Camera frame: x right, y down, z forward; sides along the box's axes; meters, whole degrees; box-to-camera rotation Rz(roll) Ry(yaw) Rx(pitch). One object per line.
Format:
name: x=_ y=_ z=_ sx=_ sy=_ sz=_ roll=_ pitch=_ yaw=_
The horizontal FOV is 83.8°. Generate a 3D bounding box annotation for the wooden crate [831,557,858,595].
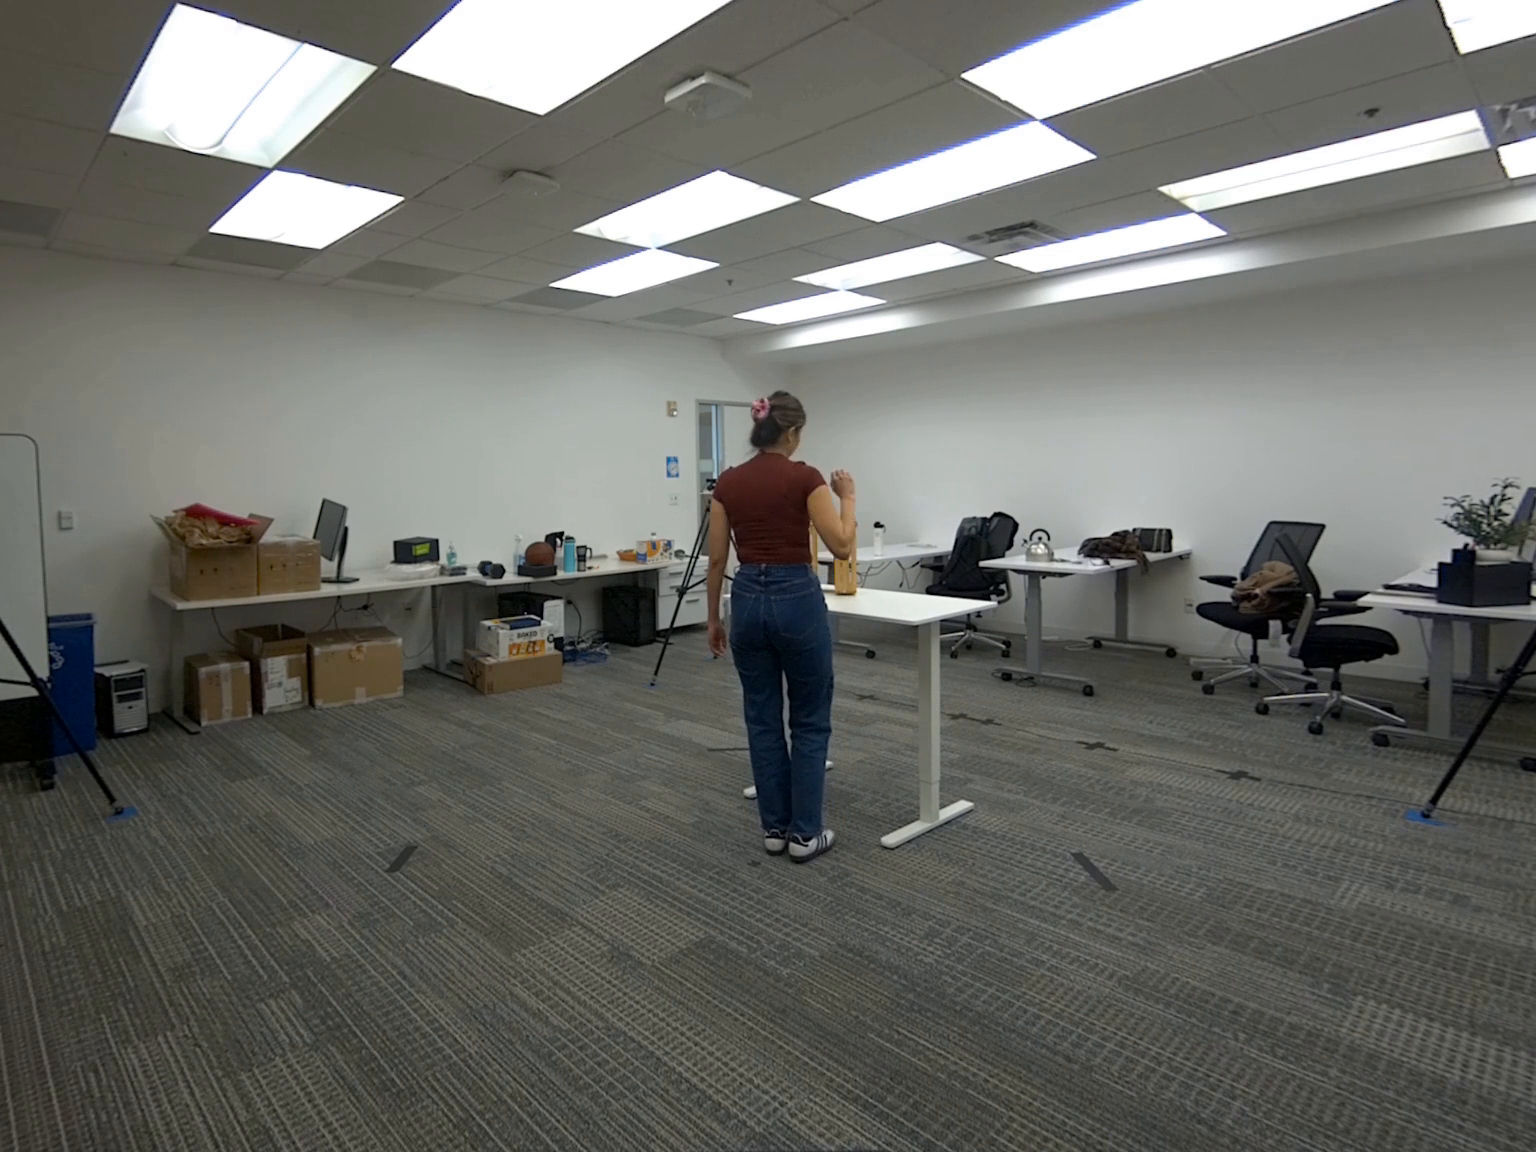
wooden crate: x=0.275 y=-0.091 z=3.872 sx=0.275 sy=0.323 sz=0.302 roll=-1 pitch=6 yaw=5
